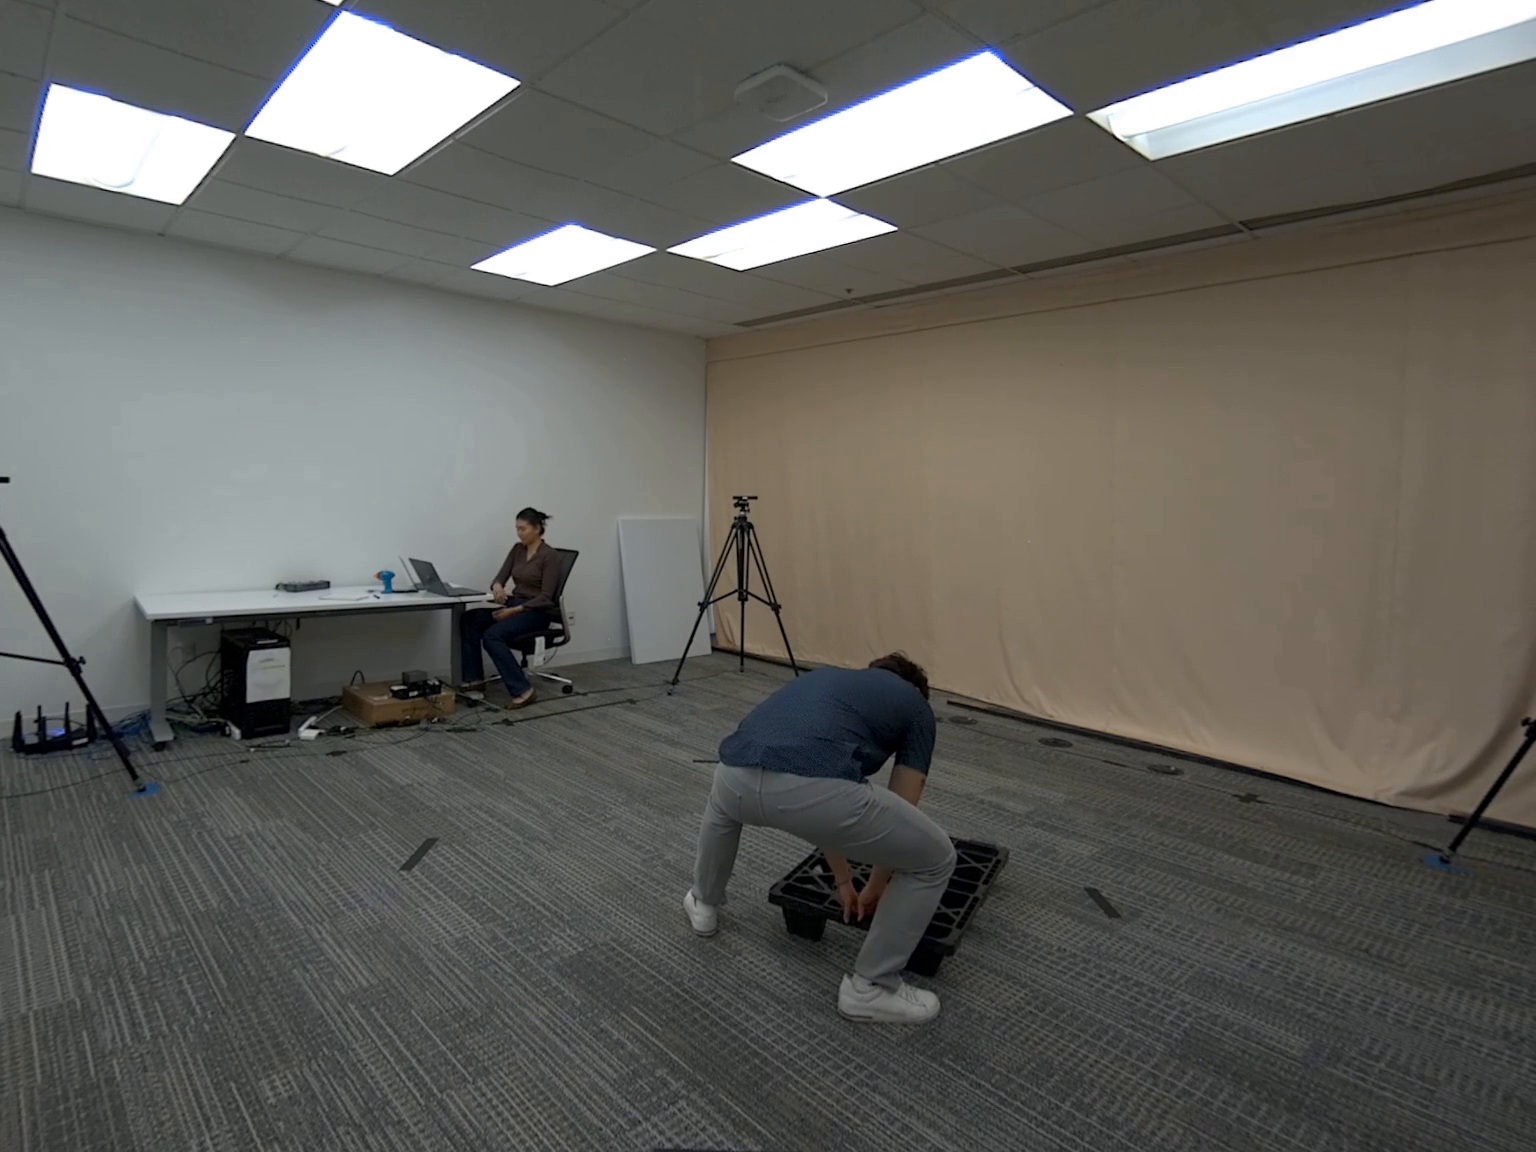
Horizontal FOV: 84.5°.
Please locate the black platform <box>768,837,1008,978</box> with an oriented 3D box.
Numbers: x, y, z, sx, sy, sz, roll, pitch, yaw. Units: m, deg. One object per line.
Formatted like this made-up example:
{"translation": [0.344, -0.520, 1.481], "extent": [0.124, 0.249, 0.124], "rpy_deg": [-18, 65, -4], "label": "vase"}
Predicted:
{"translation": [0.426, 1.064, 2.884], "extent": [0.618, 0.143, 0.790], "rpy_deg": [4, 5, 28], "label": "black platform"}
